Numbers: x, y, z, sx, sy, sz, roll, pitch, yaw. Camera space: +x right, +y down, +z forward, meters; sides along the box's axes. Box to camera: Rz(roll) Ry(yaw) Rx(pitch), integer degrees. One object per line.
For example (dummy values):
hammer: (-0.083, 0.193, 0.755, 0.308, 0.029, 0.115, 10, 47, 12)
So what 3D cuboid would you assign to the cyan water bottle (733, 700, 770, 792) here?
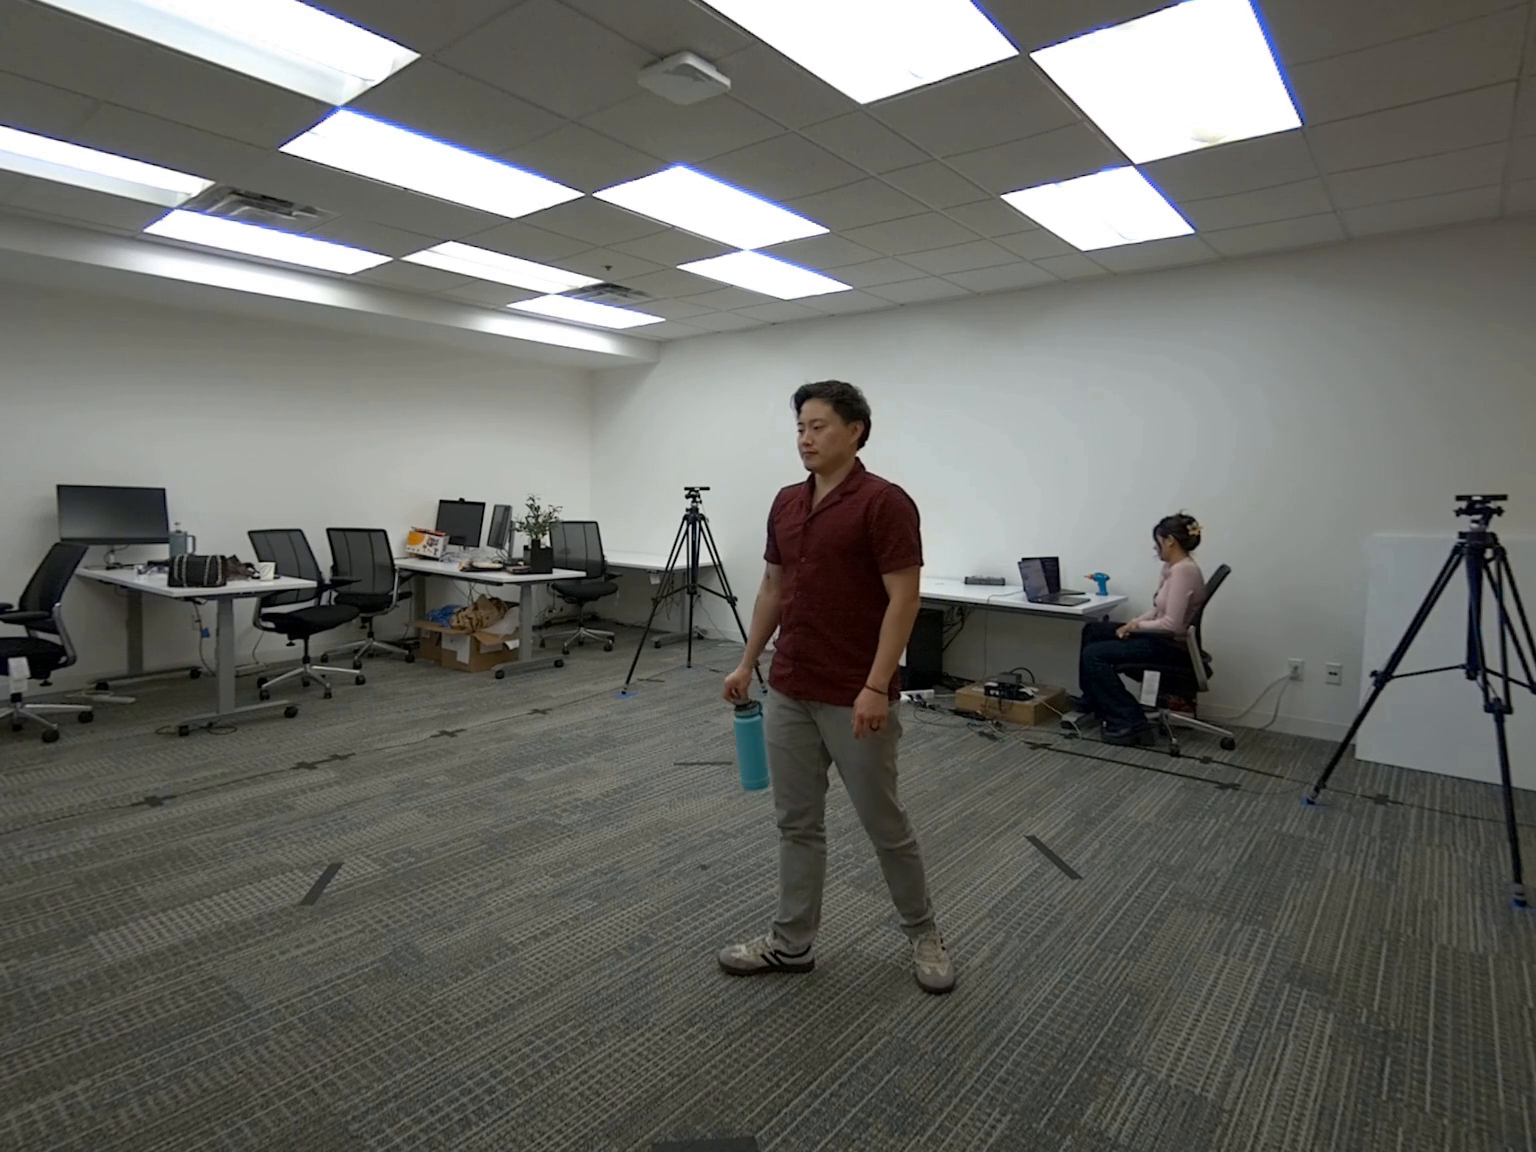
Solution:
cyan water bottle: (-0.064, 0.512, 2.628, 0.092, 0.282, 0.093, -6, 3, -1)
